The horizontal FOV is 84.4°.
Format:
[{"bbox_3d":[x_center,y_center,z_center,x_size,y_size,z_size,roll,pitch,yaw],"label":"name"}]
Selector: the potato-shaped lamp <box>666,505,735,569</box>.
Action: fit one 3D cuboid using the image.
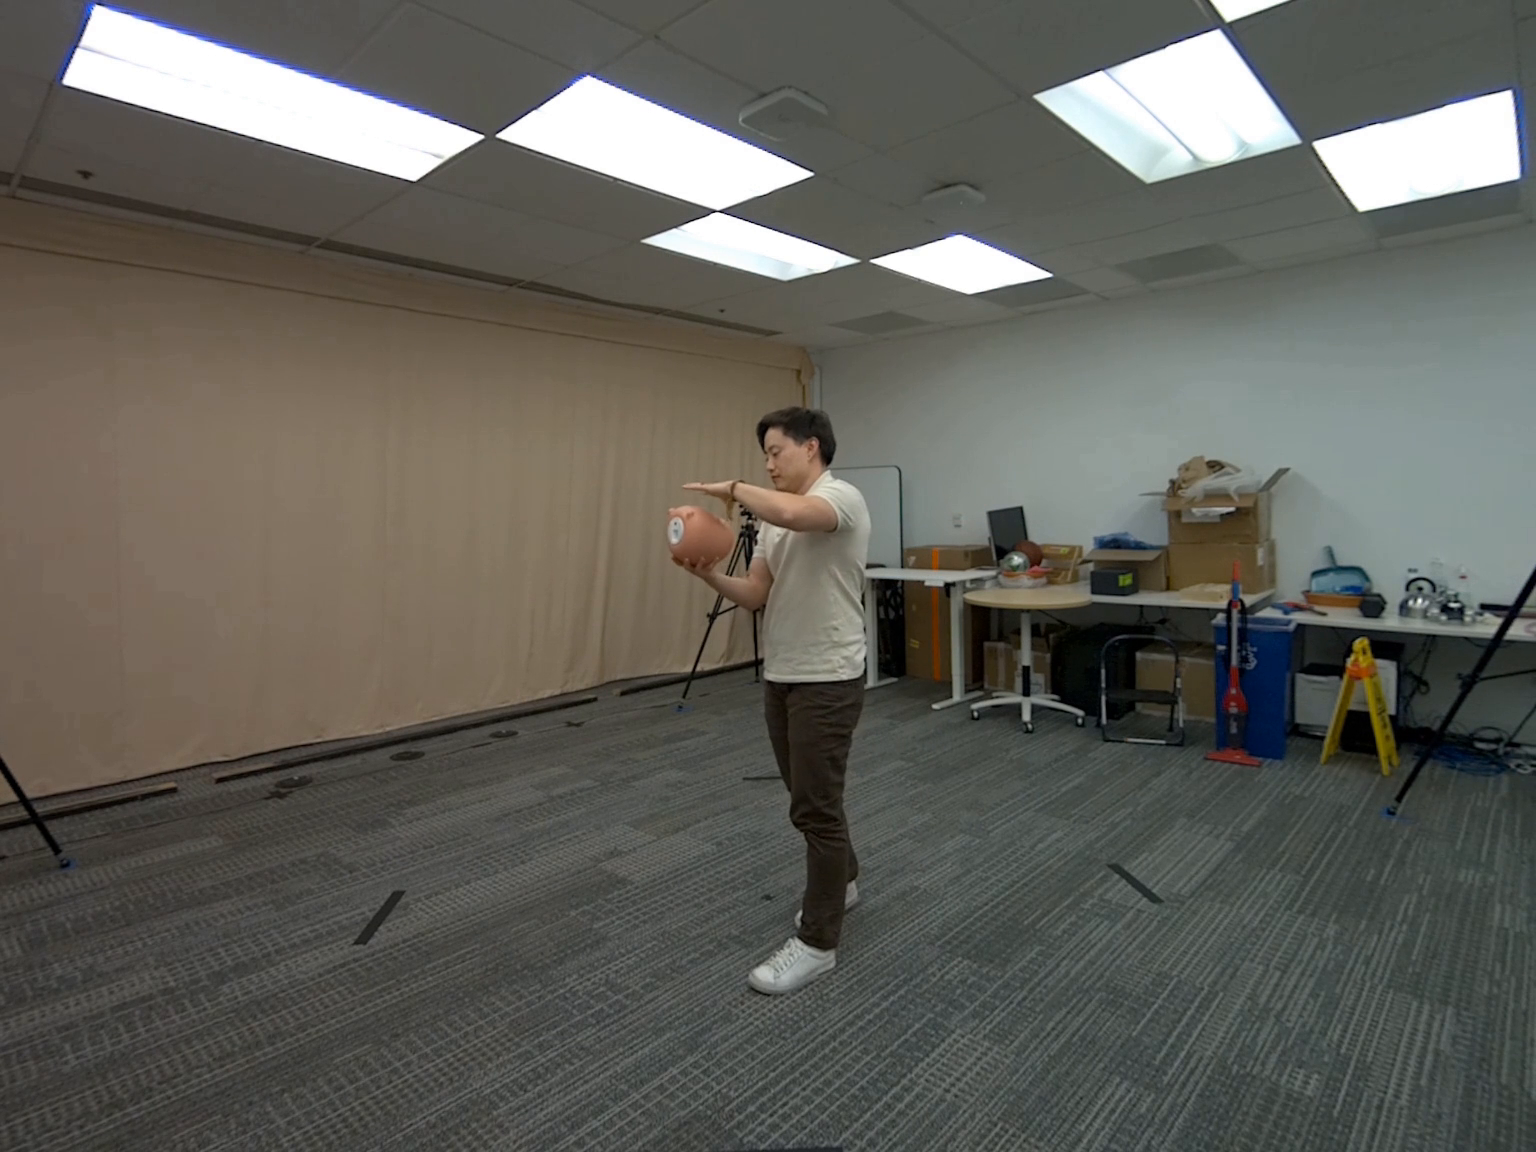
[{"bbox_3d":[-0.186,-0.119,2.481,0.192,0.171,0.169,4,1,-31],"label":"potato-shaped lamp"}]
